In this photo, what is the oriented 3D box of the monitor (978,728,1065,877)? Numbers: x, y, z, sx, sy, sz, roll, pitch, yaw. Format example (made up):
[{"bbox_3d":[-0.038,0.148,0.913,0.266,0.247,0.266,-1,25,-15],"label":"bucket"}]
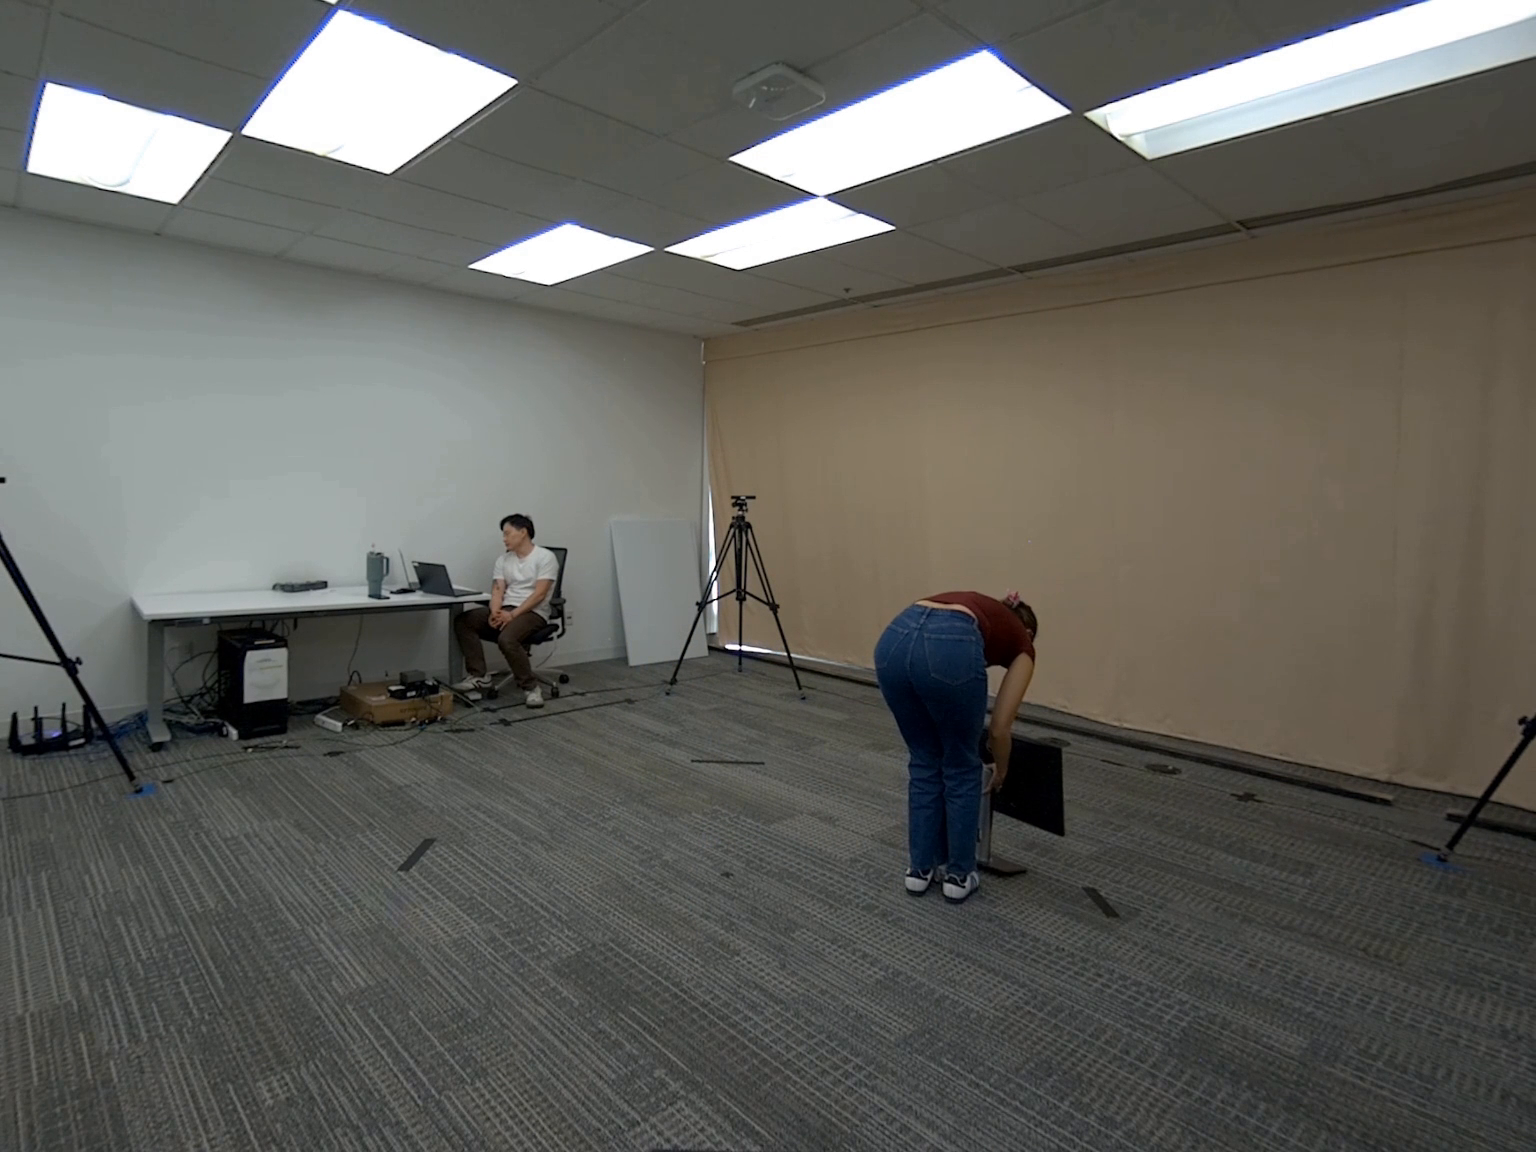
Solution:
[{"bbox_3d":[0.864,0.852,3.268,0.182,0.522,0.553,6,0,-41],"label":"monitor"}]
